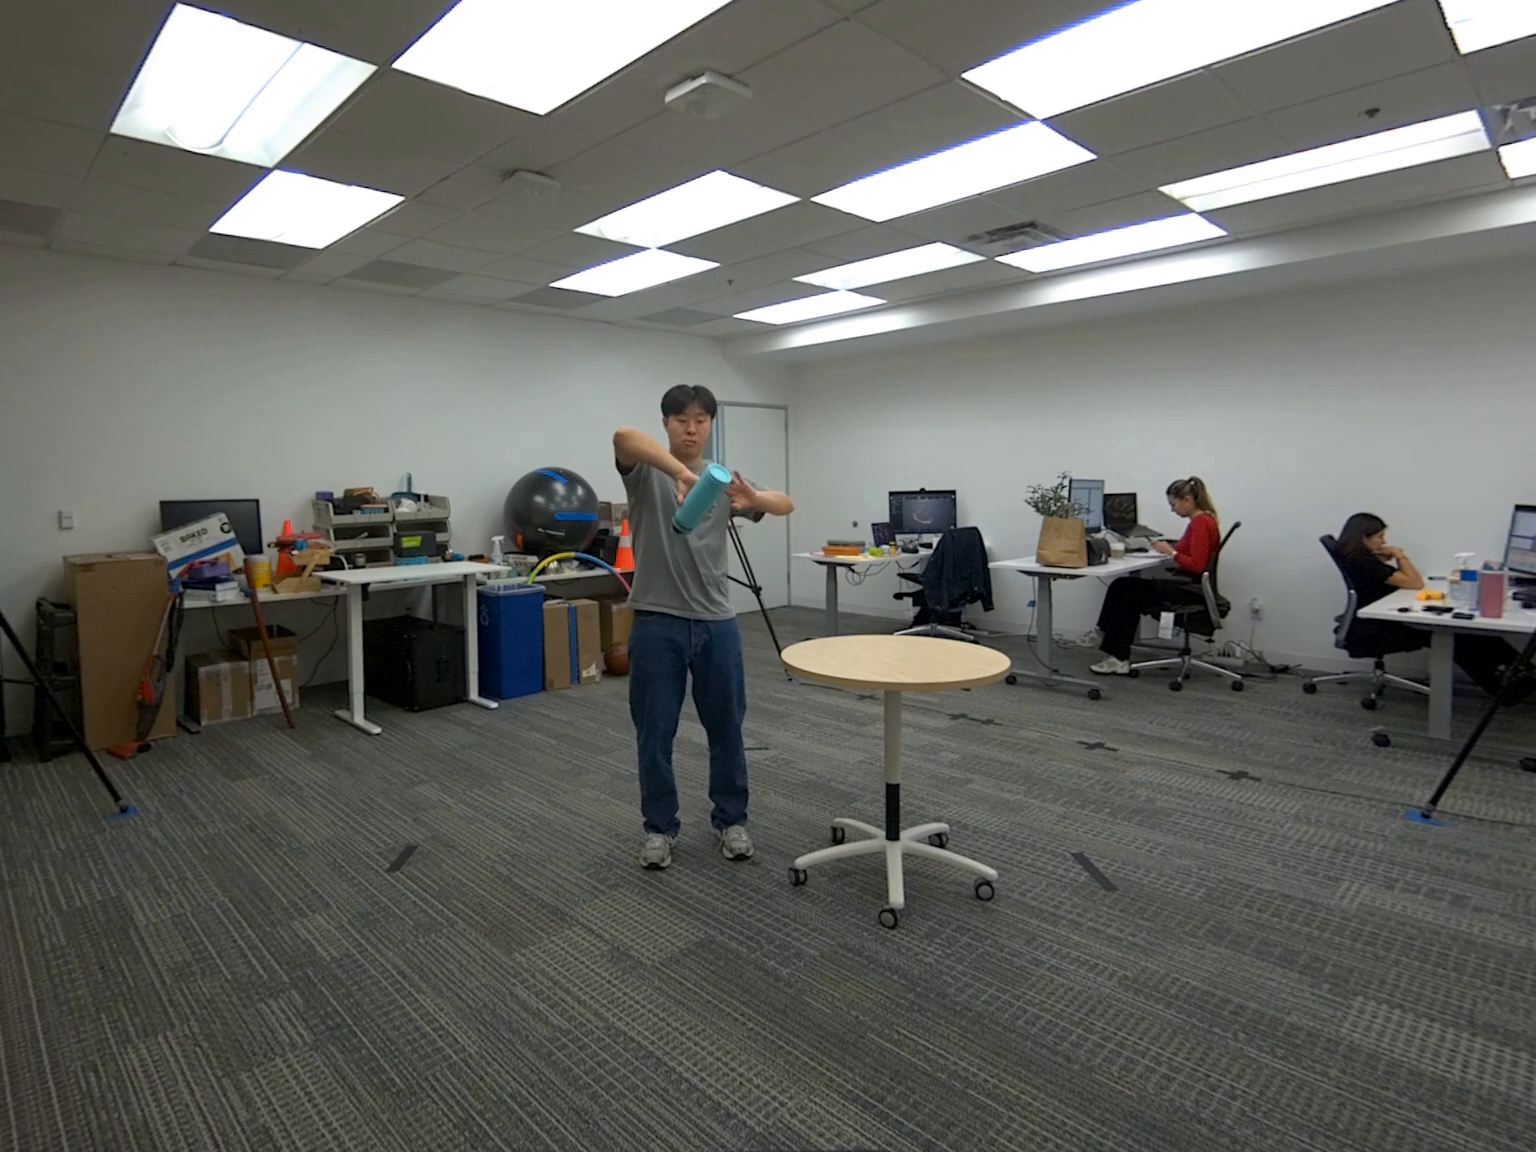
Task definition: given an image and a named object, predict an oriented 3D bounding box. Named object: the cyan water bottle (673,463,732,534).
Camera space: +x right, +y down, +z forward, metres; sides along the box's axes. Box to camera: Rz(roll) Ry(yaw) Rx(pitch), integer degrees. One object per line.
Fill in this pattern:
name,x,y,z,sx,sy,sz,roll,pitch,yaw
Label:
cyan water bottle,-0.236,-0.243,2.818,0.090,0.282,0.095,24,36,-20
